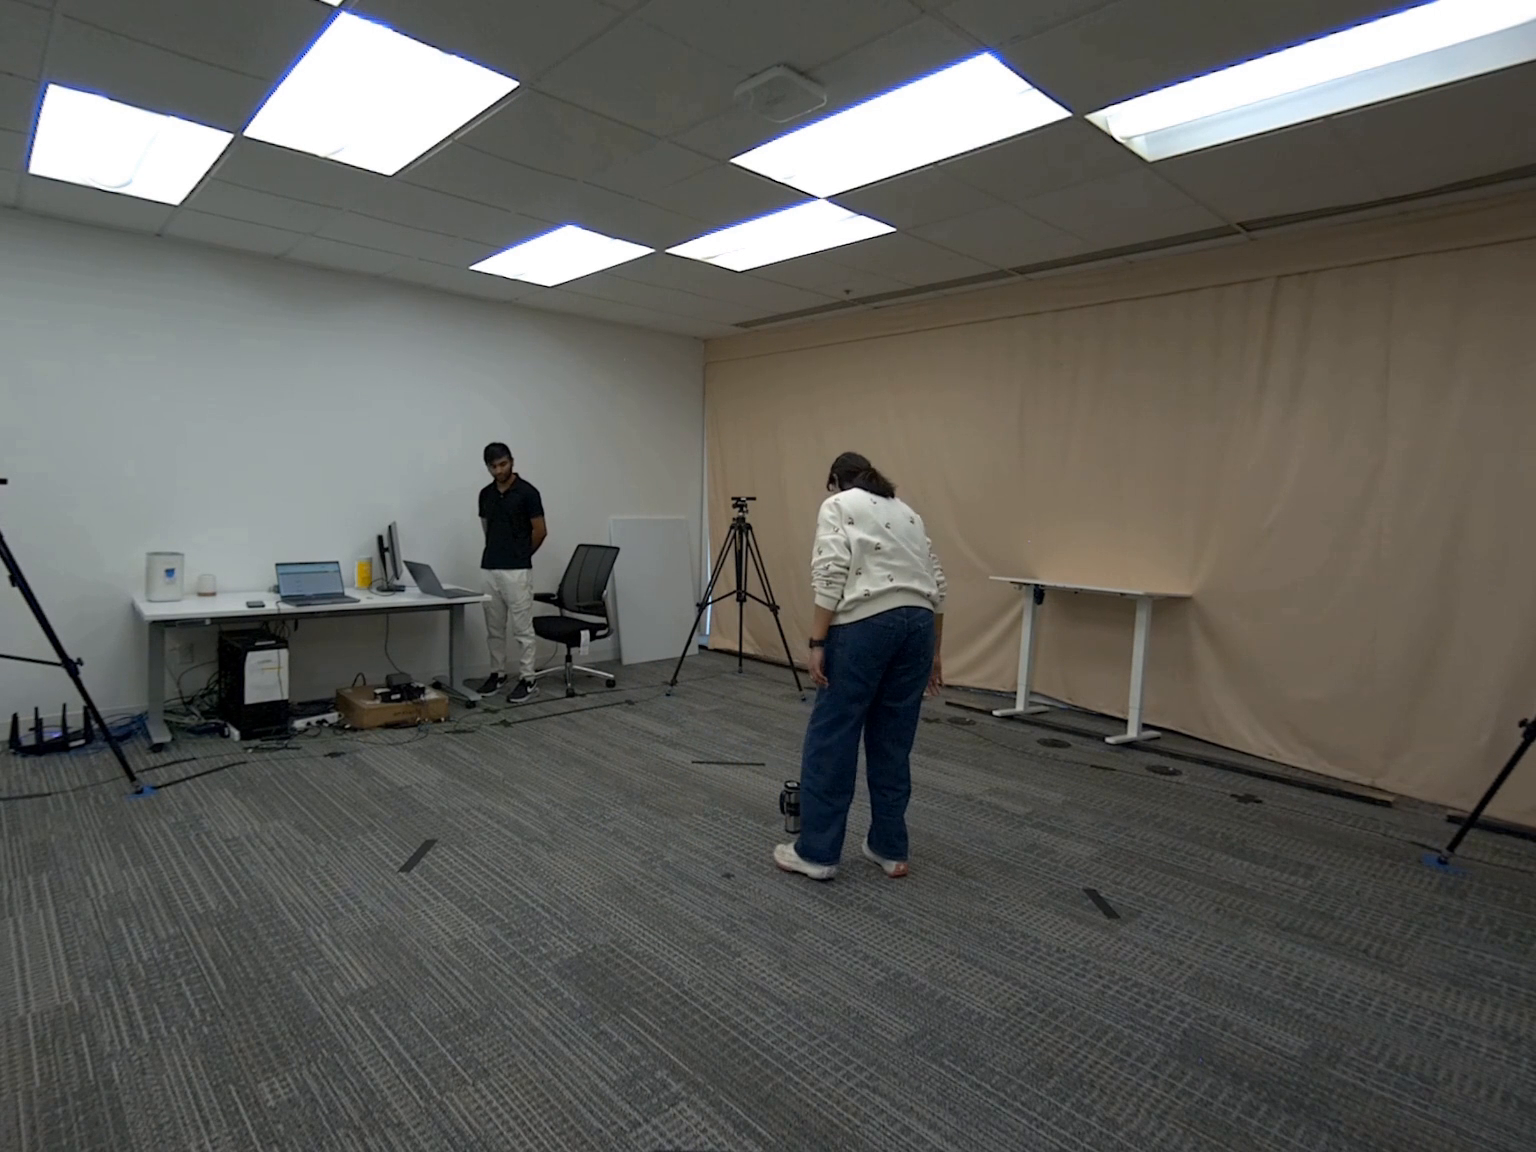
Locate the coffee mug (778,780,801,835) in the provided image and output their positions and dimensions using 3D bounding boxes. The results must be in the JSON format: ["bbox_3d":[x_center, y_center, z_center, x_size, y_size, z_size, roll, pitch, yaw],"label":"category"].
[{"bbox_3d":[0.082,0.974,3.534,0.119,0.202,0.090,4,5,-28],"label":"coffee mug"}]
